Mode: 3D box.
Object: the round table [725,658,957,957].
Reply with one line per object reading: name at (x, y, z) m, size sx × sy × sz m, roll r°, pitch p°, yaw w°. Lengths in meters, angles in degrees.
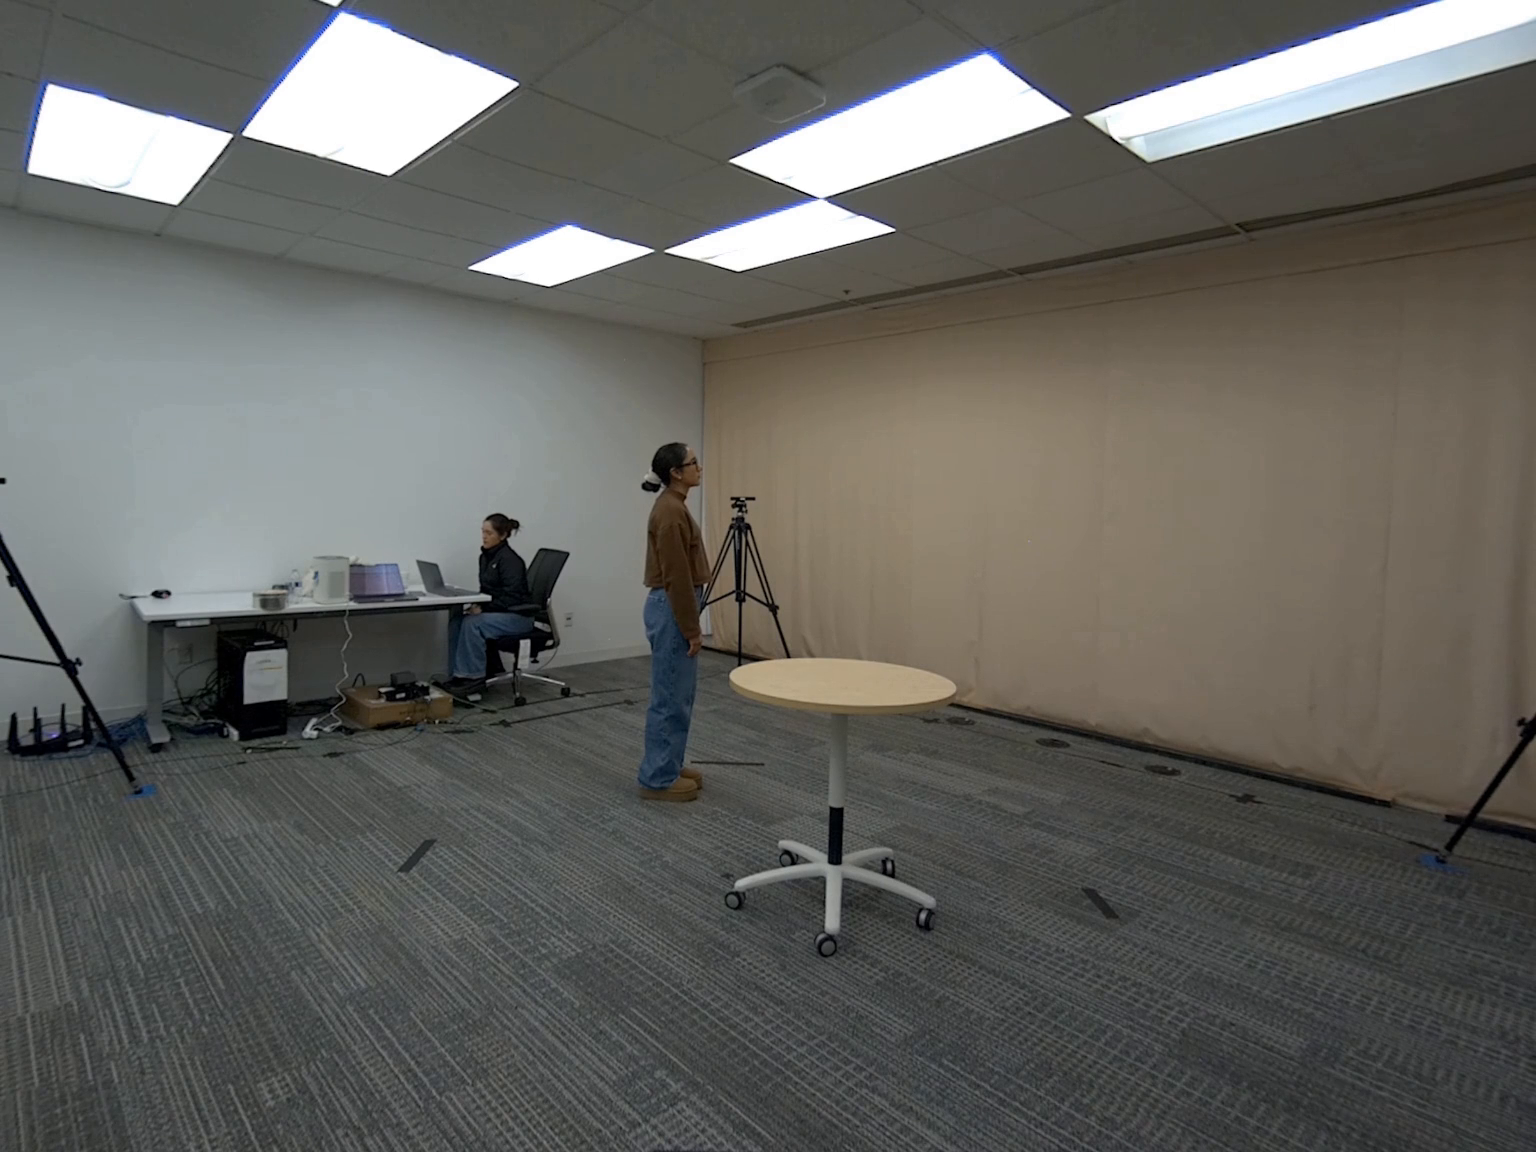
round table at (0.238, 0.744, 2.887) m, size 0.784 × 0.784 × 0.788 m, roll 2°, pitch 4°, yaw -1°
